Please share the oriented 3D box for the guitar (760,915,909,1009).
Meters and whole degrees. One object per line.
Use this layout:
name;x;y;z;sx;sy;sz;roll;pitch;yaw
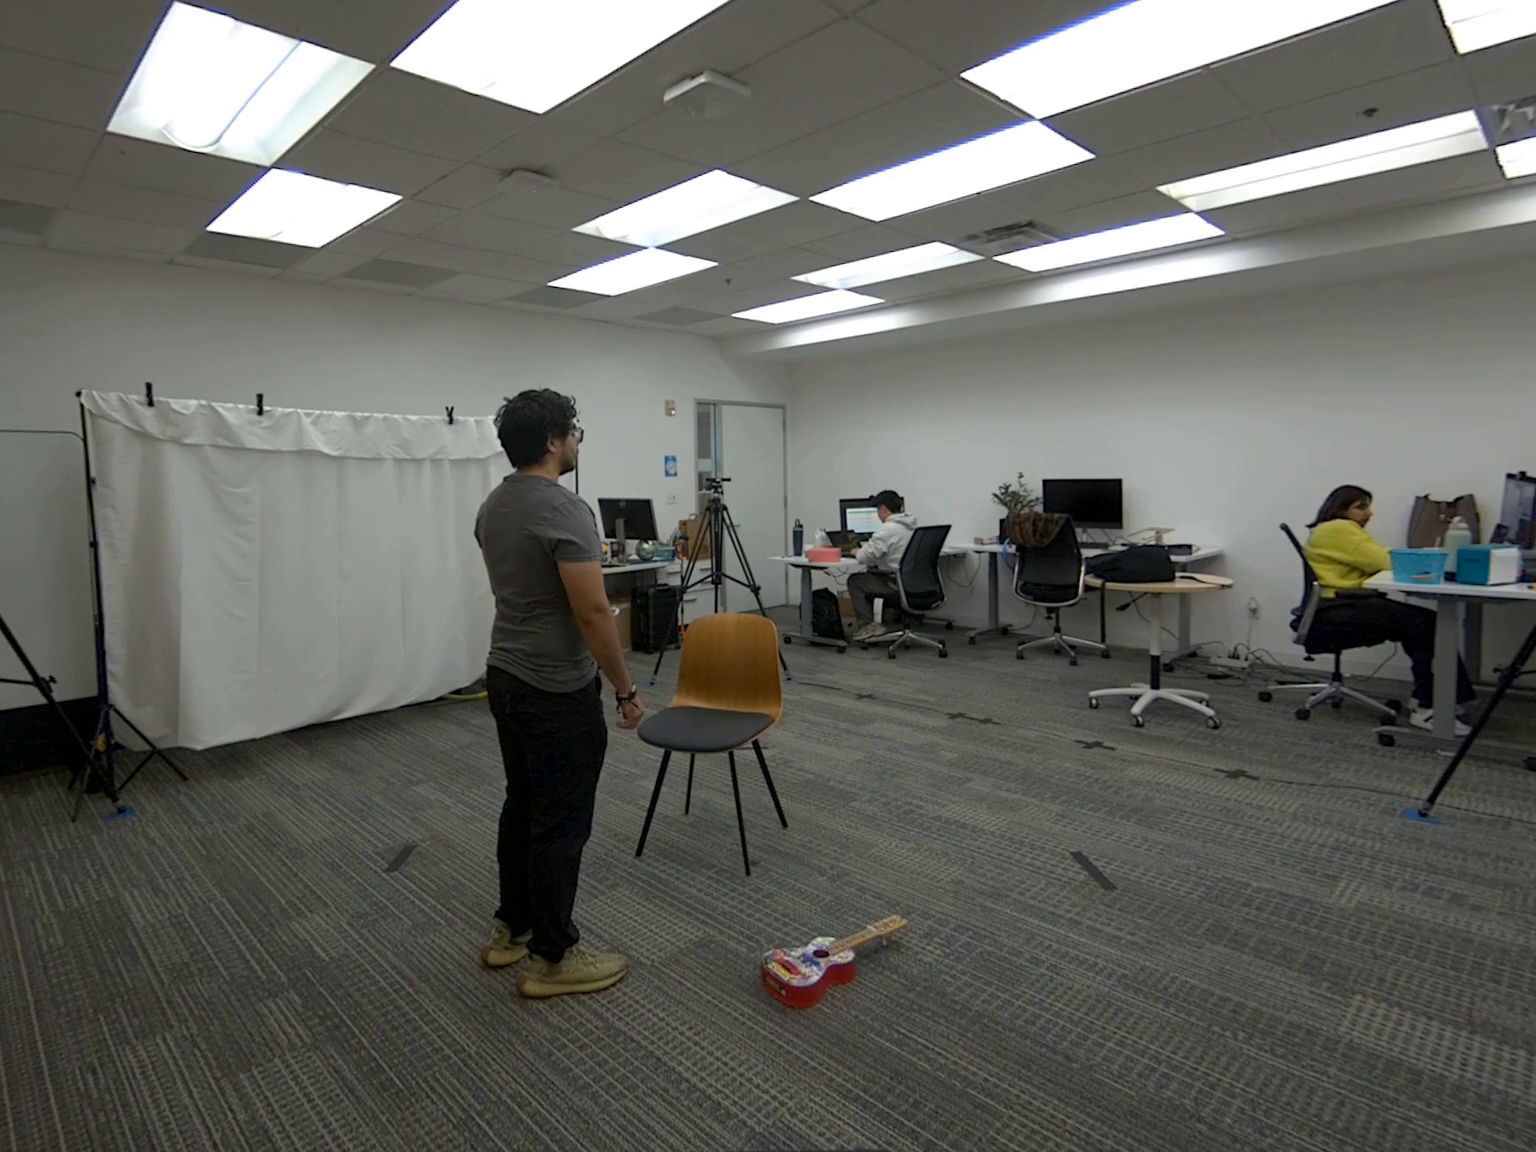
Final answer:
guitar;0.234;1.089;2.415;0.487;0.070;0.198;-5;7;-26
